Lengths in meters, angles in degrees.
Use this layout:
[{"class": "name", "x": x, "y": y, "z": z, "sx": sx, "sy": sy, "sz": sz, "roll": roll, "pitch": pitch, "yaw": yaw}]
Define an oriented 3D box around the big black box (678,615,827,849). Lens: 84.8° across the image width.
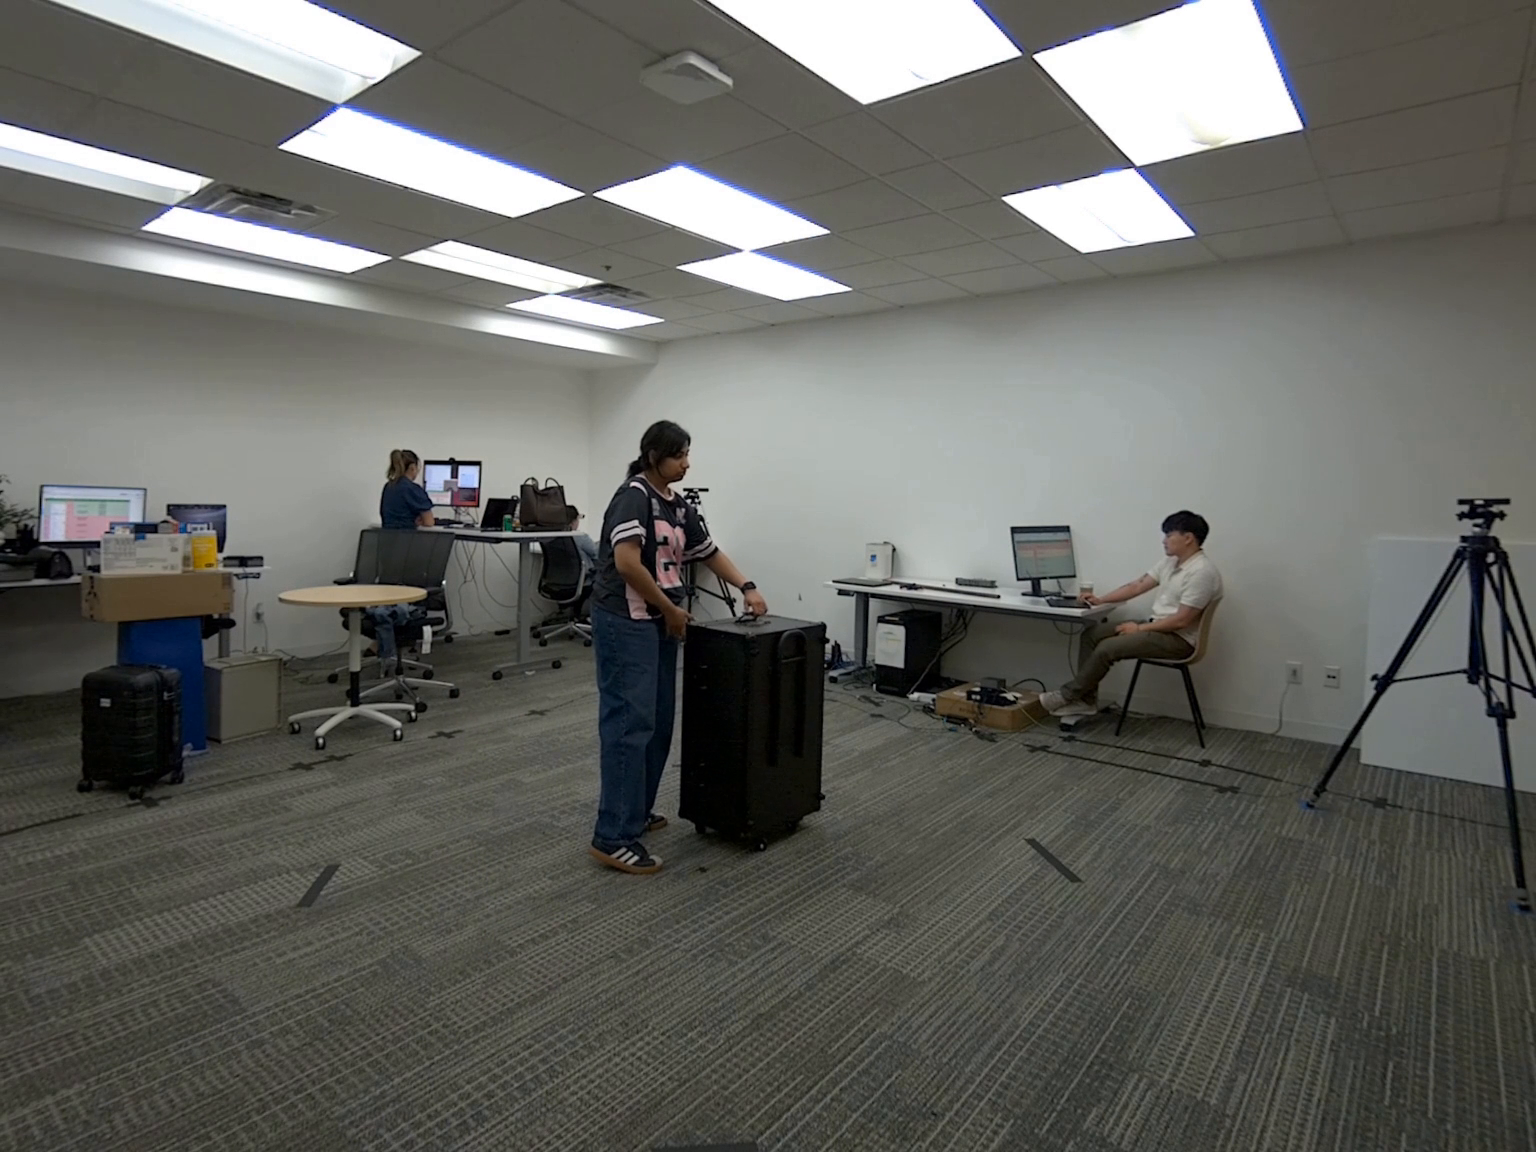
[{"class": "big black box", "x": -0.060, "y": 0.618, "z": 3.462, "sx": 0.398, "sy": 0.865, "sz": 0.508, "roll": 5, "pitch": 5, "yaw": 40}]
